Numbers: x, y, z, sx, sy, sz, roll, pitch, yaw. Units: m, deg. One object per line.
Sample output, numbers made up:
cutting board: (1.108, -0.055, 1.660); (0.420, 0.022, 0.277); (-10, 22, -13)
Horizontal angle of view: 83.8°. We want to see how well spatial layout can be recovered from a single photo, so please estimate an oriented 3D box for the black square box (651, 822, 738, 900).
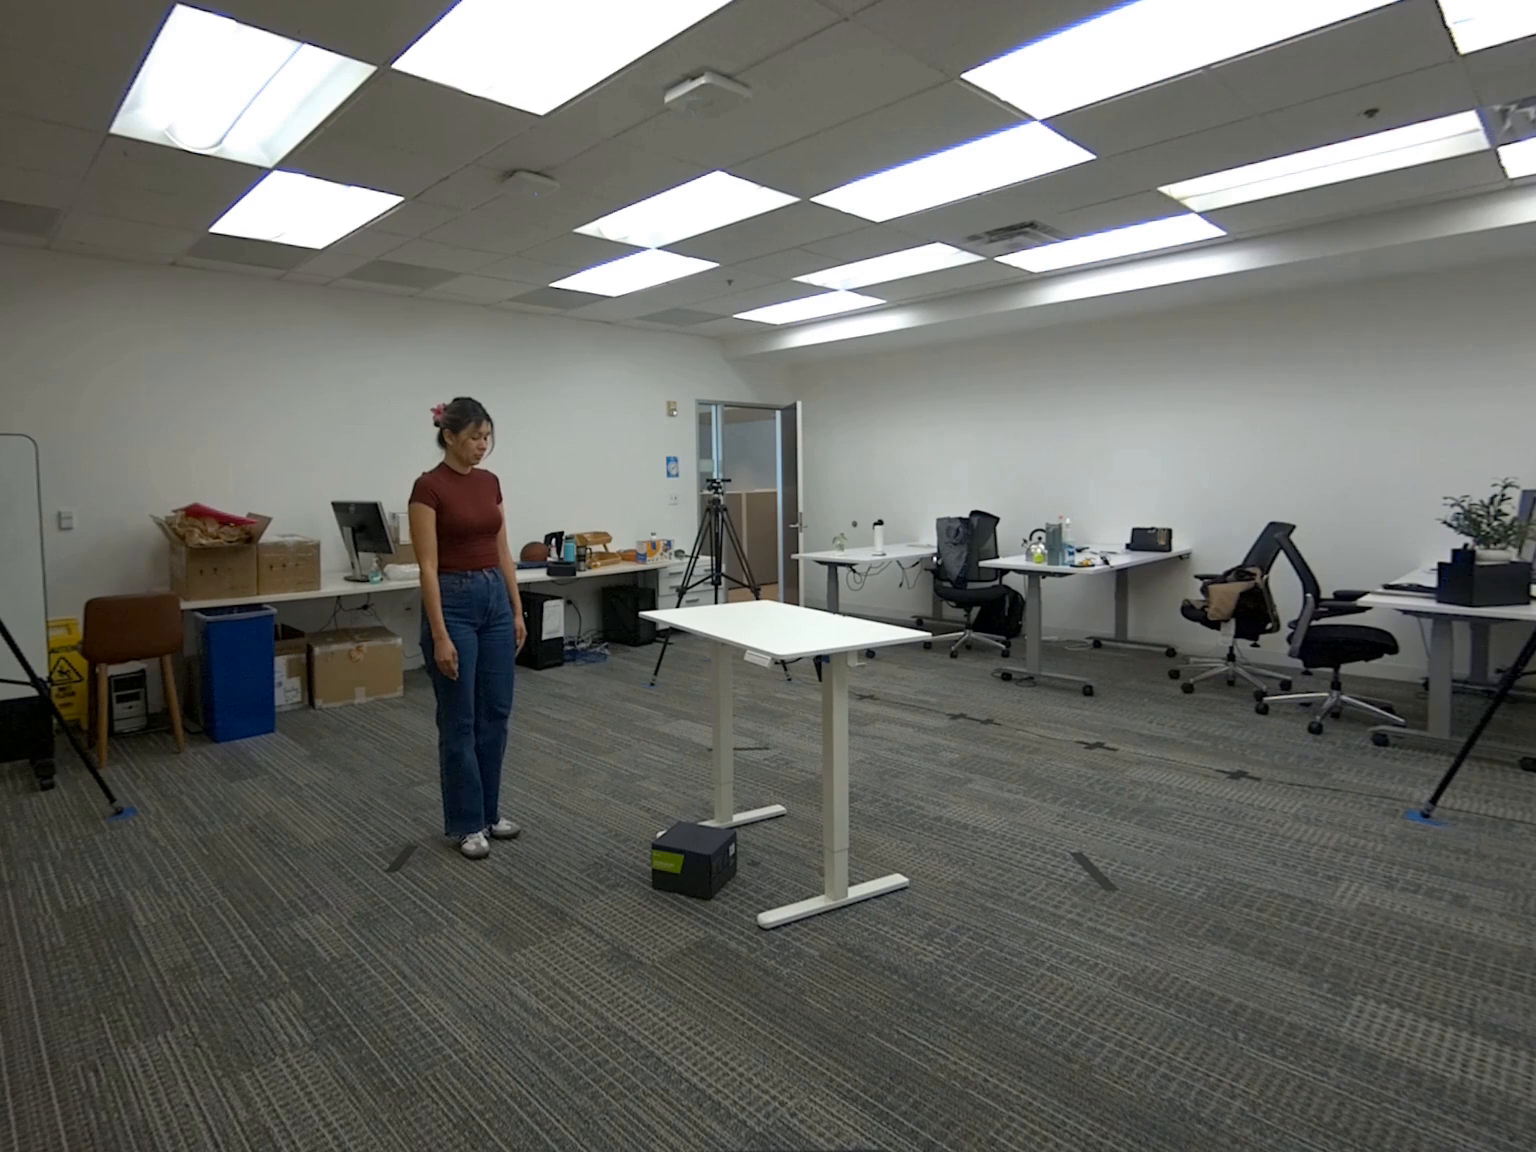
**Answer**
black square box: (-0.254, 0.979, 2.973); (0.233, 0.155, 0.213); (2, 6, 24)
